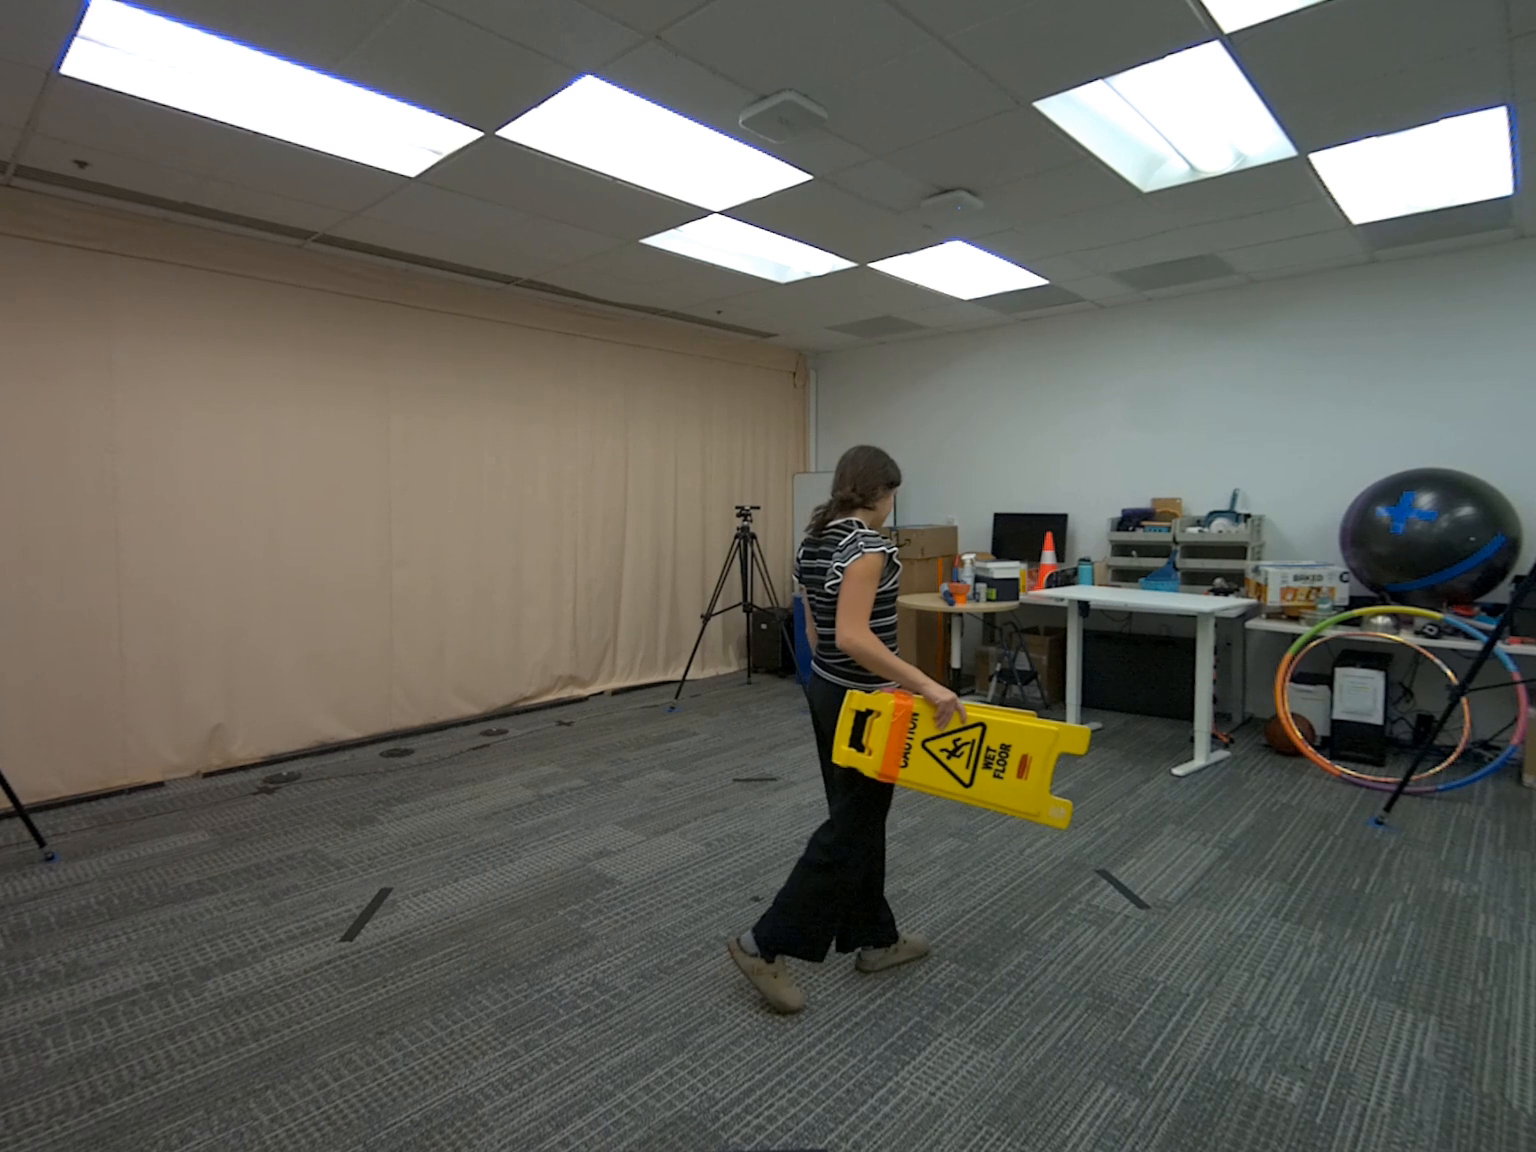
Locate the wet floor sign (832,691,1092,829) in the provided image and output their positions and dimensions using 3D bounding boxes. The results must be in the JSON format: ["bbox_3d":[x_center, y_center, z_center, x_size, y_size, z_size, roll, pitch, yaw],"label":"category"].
[{"bbox_3d":[0.492,0.465,2.268,0.636,0.282,0.294,13,-2,-14],"label":"wet floor sign"}]
